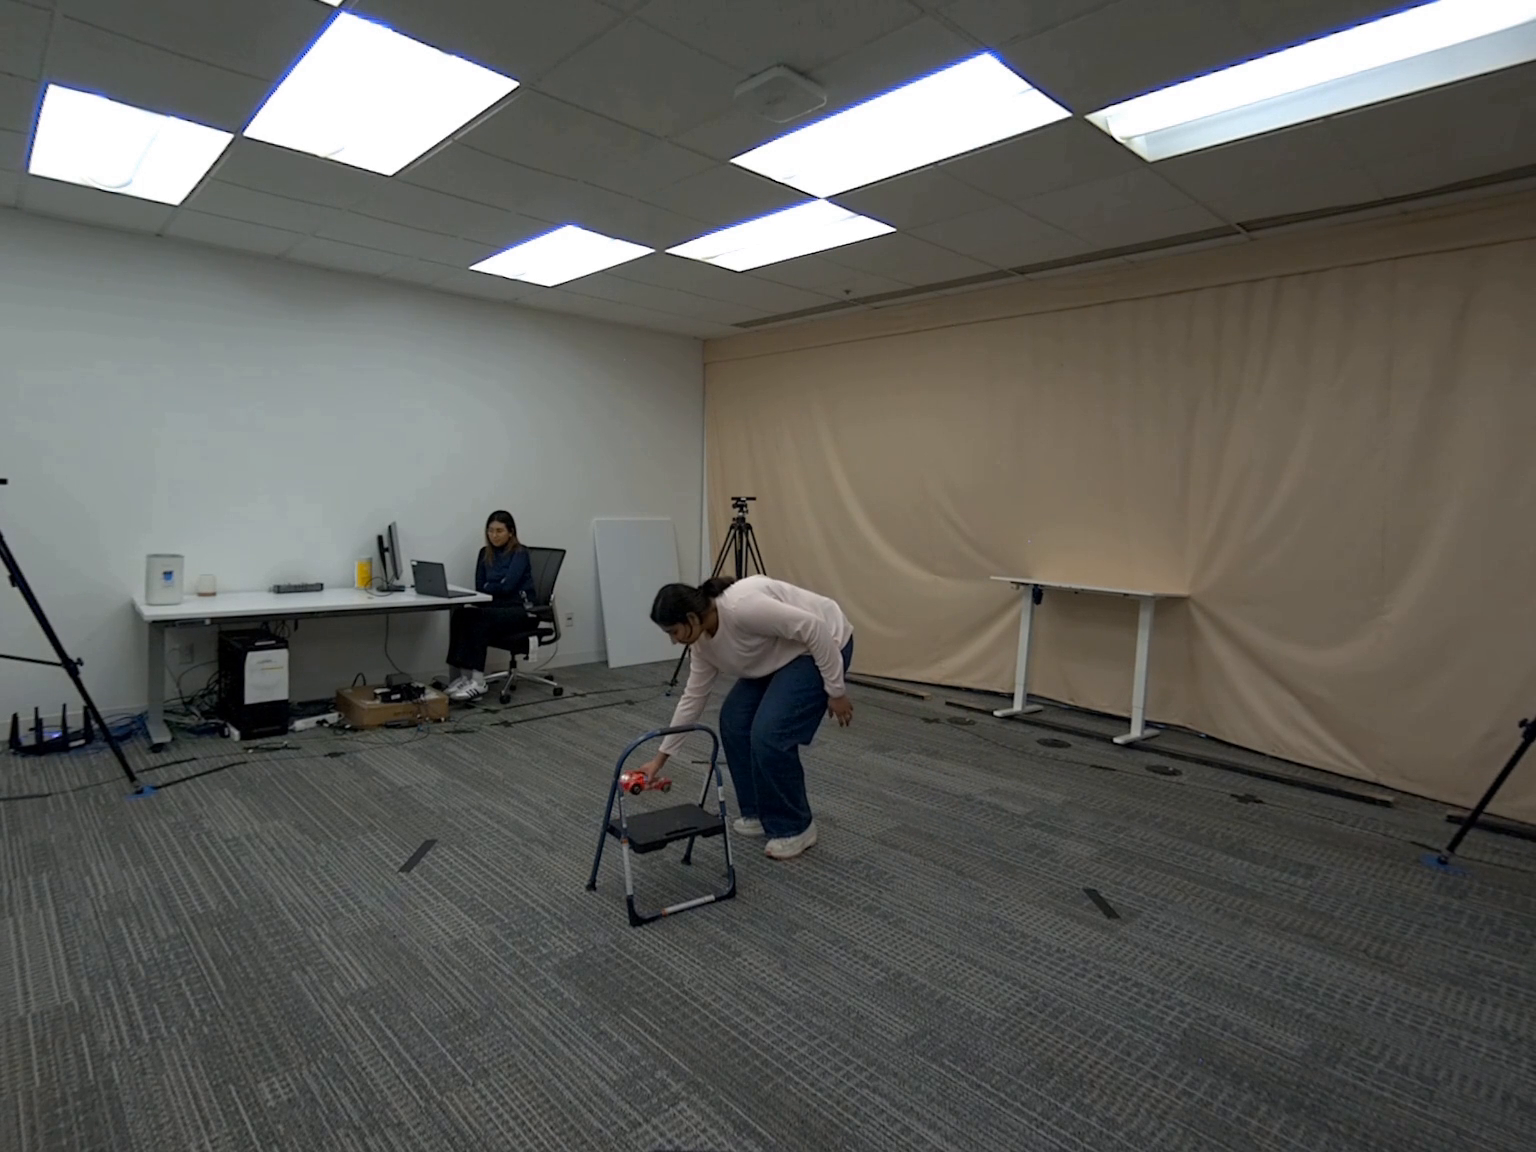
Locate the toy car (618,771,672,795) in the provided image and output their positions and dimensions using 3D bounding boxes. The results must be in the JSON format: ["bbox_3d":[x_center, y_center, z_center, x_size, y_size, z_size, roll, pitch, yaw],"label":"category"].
[{"bbox_3d":[-0.529,0.852,3.490,0.248,0.083,0.133,18,-11,-32],"label":"toy car"}]
